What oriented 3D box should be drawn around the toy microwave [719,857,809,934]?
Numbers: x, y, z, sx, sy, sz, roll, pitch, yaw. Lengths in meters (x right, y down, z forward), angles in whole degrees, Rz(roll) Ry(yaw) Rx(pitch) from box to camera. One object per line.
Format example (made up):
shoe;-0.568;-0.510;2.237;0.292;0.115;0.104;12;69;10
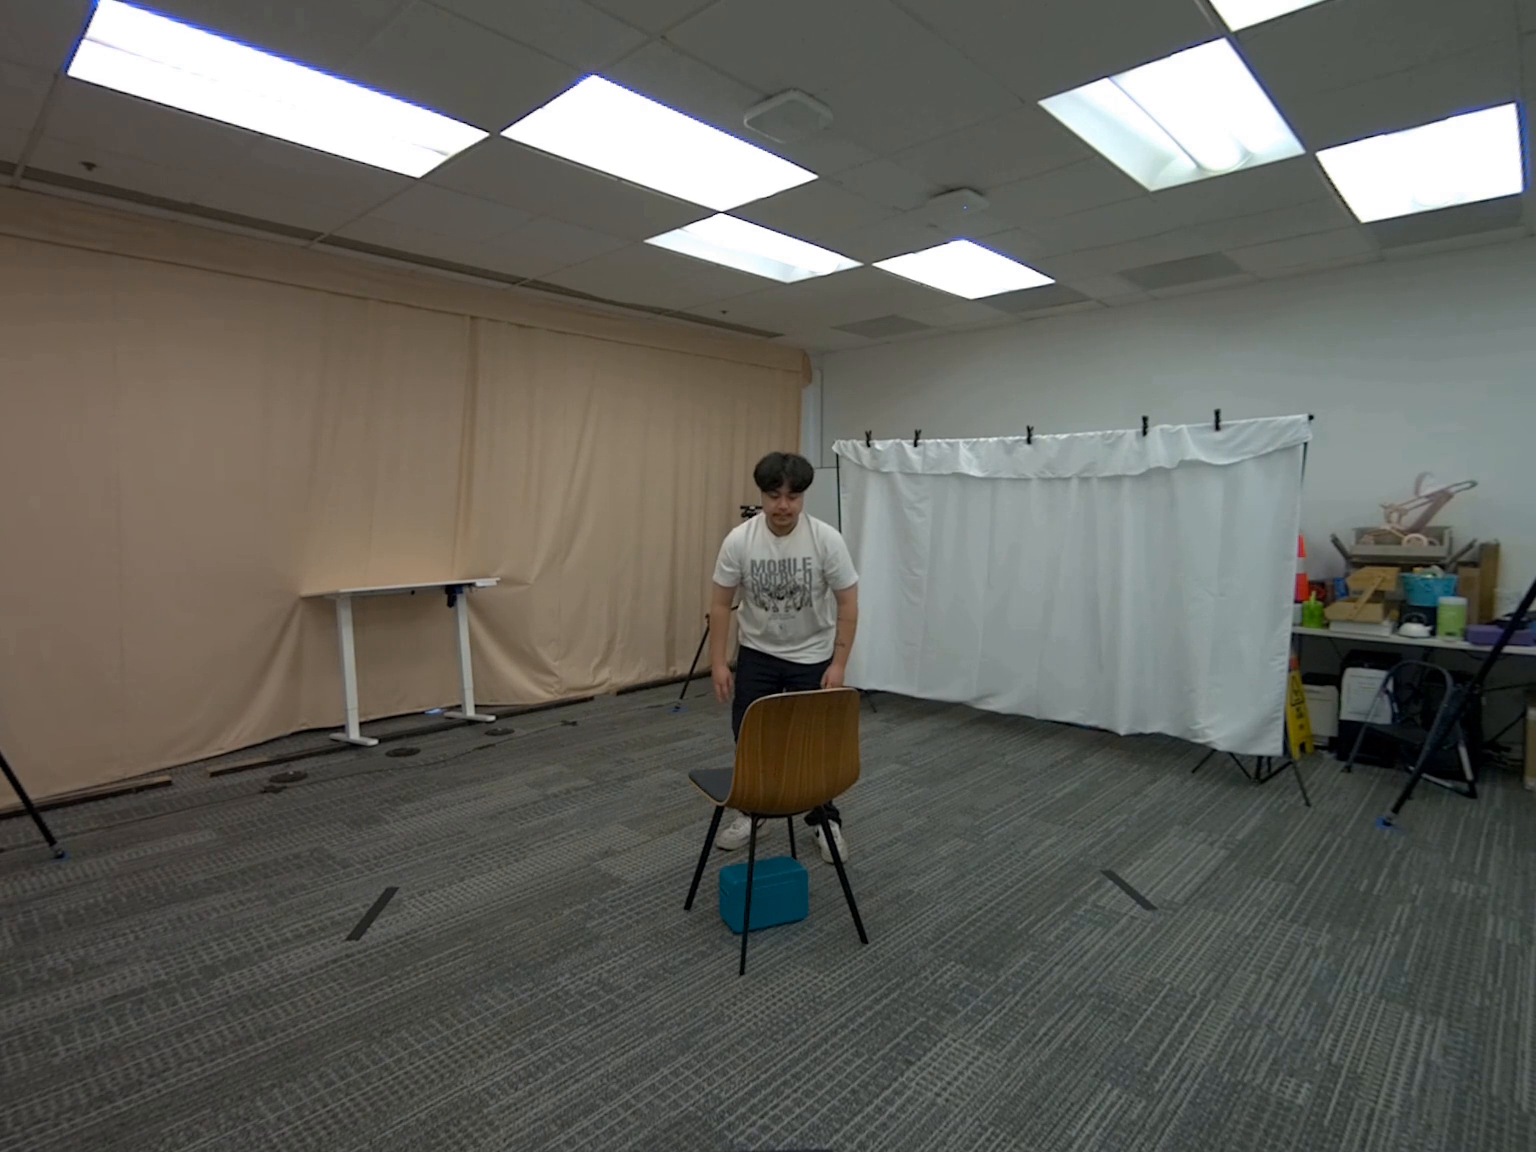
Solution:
toy microwave;-0.021;1.060;2.836;0.279;0.184;0.156;-2;4;-24
